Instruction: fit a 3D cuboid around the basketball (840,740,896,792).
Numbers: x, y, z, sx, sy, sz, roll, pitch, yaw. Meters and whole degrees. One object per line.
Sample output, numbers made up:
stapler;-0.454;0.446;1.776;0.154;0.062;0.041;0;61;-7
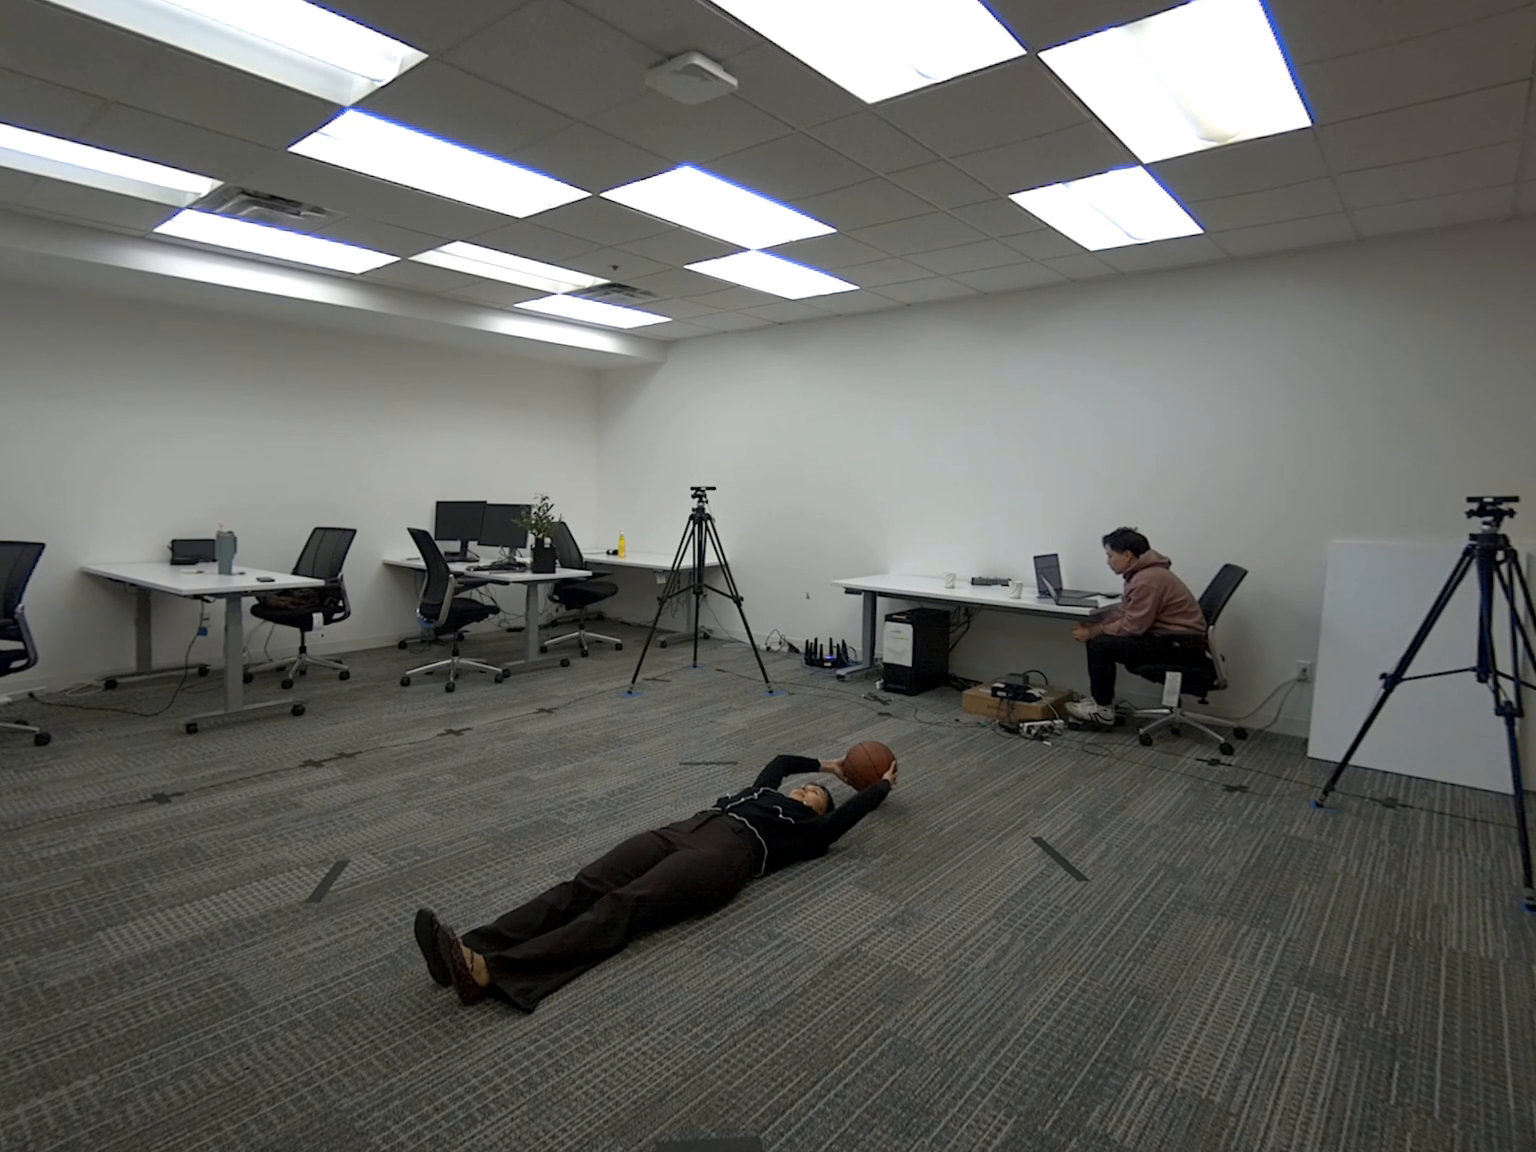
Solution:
basketball;0.449;0.847;3.796;0.236;0.235;0.237;1;4;-2
